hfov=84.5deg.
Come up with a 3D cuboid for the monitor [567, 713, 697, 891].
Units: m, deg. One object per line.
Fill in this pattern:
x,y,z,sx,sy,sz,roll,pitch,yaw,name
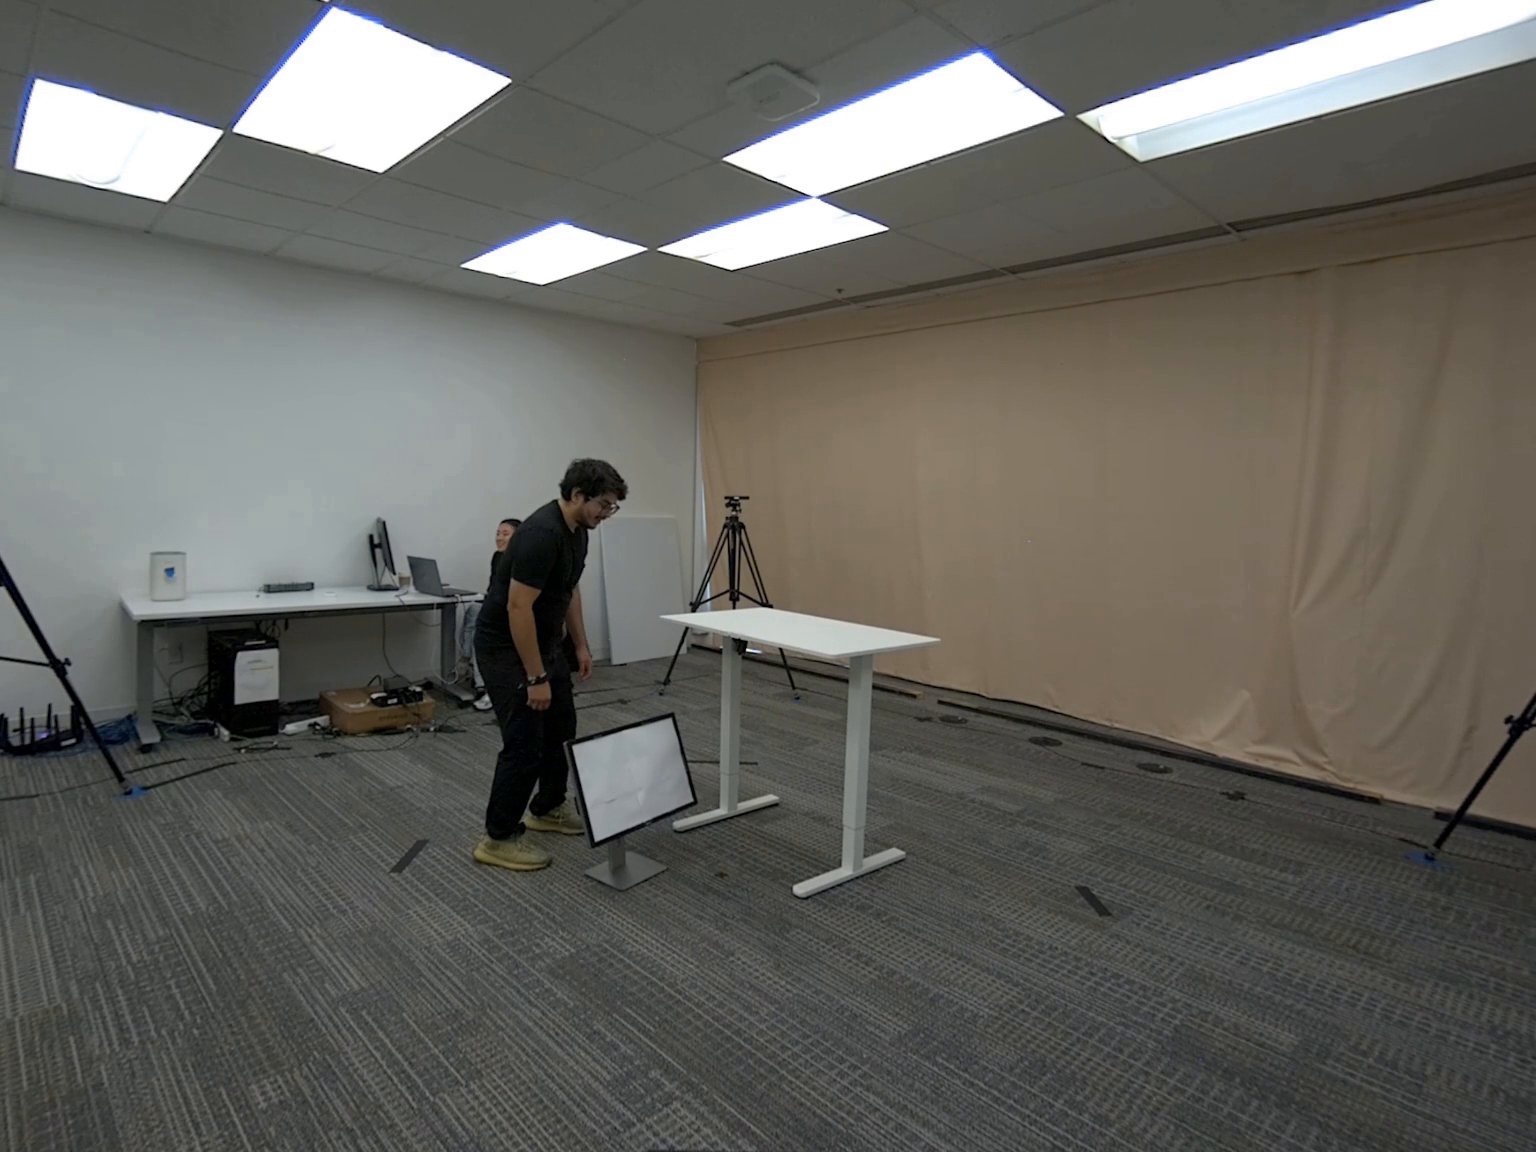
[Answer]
-0.548,0.830,3.106,0.214,0.555,0.553,-9,-3,36,monitor
